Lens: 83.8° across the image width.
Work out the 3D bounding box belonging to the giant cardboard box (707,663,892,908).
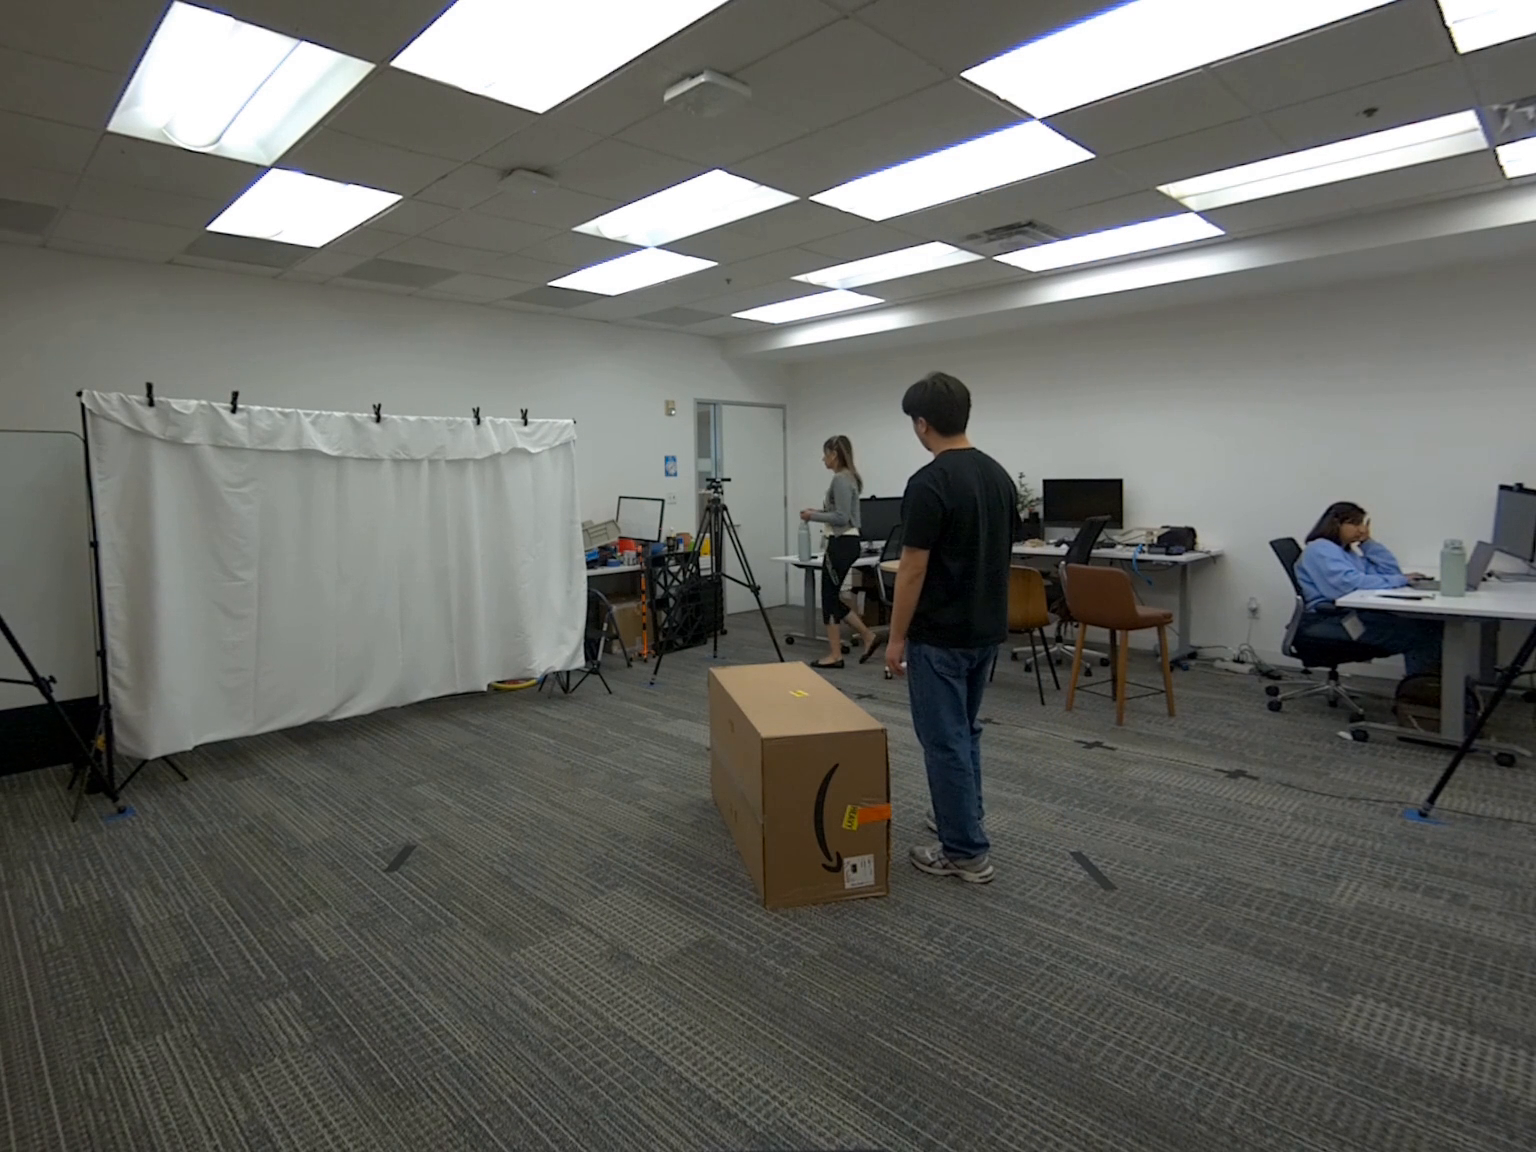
[{"bbox_3d":[0.074,0.732,3.283,0.441,0.581,1.044,-1,6,-14],"label":"giant cardboard box"}]
